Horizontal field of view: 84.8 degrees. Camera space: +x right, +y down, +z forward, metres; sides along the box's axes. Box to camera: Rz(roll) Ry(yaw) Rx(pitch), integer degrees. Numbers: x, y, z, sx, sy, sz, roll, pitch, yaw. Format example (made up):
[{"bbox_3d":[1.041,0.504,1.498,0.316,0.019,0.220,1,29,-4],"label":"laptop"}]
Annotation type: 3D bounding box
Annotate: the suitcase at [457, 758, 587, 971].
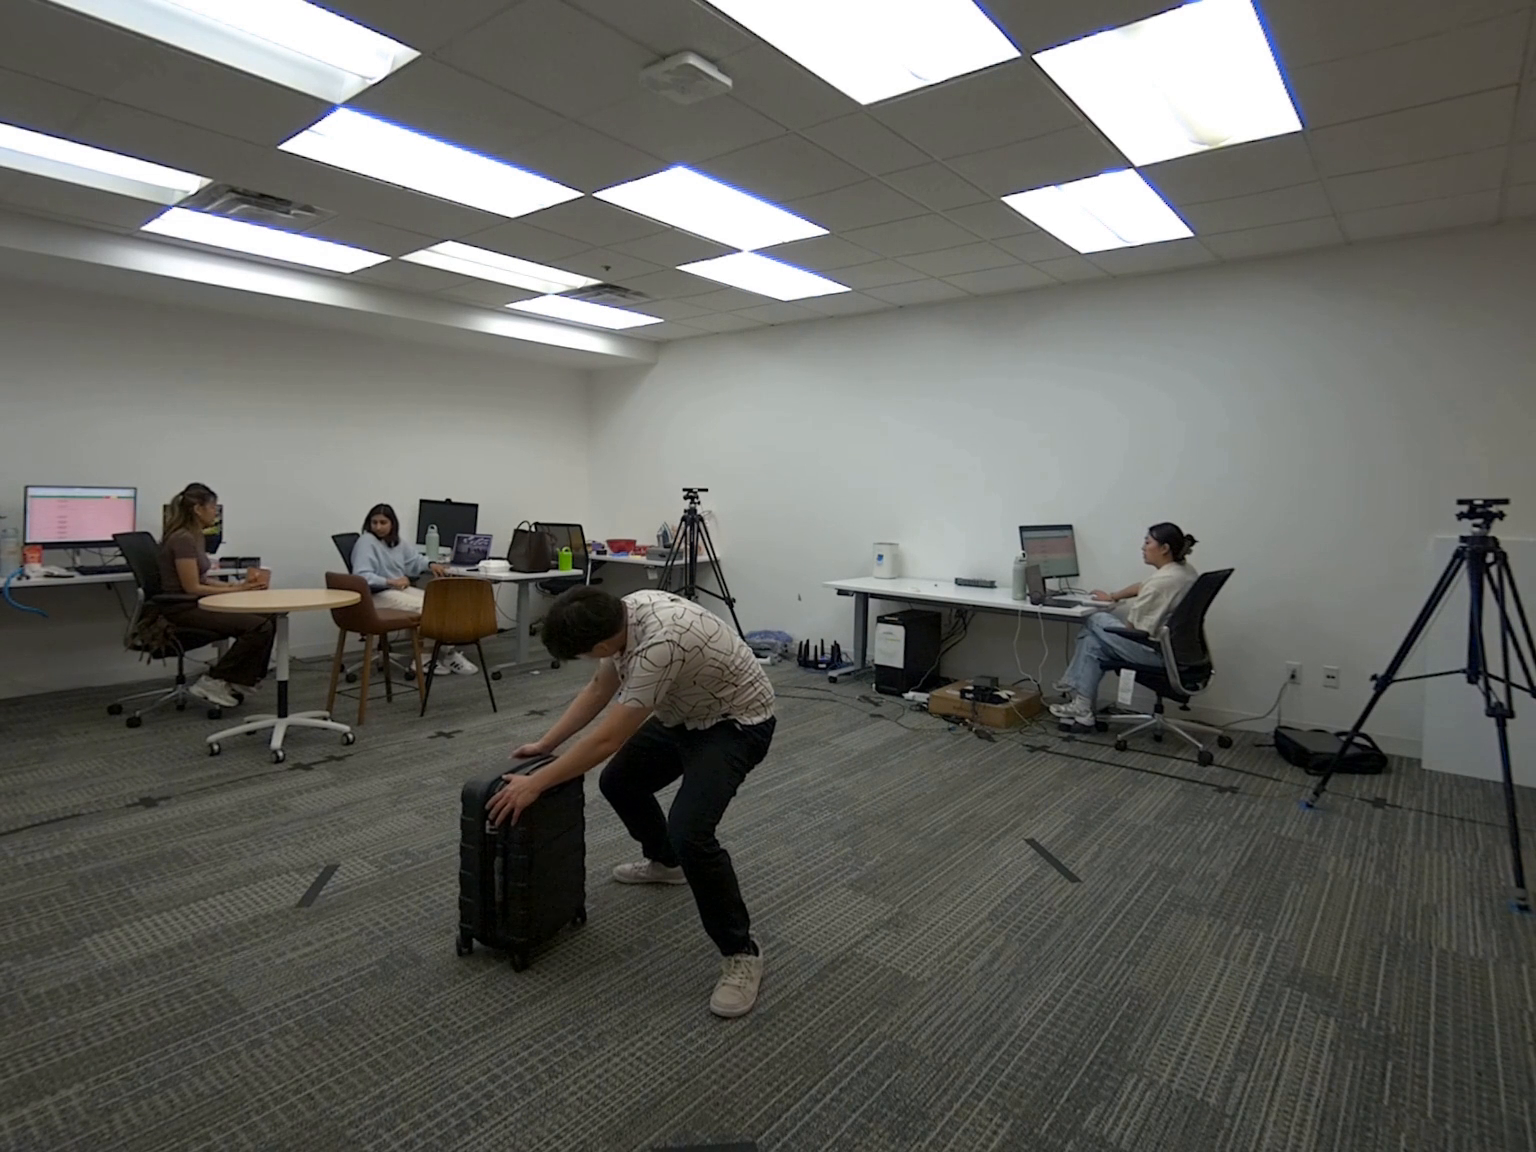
[{"bbox_3d":[-0.751,0.841,2.586,0.254,0.547,0.368,3,5,21],"label":"suitcase"}]
